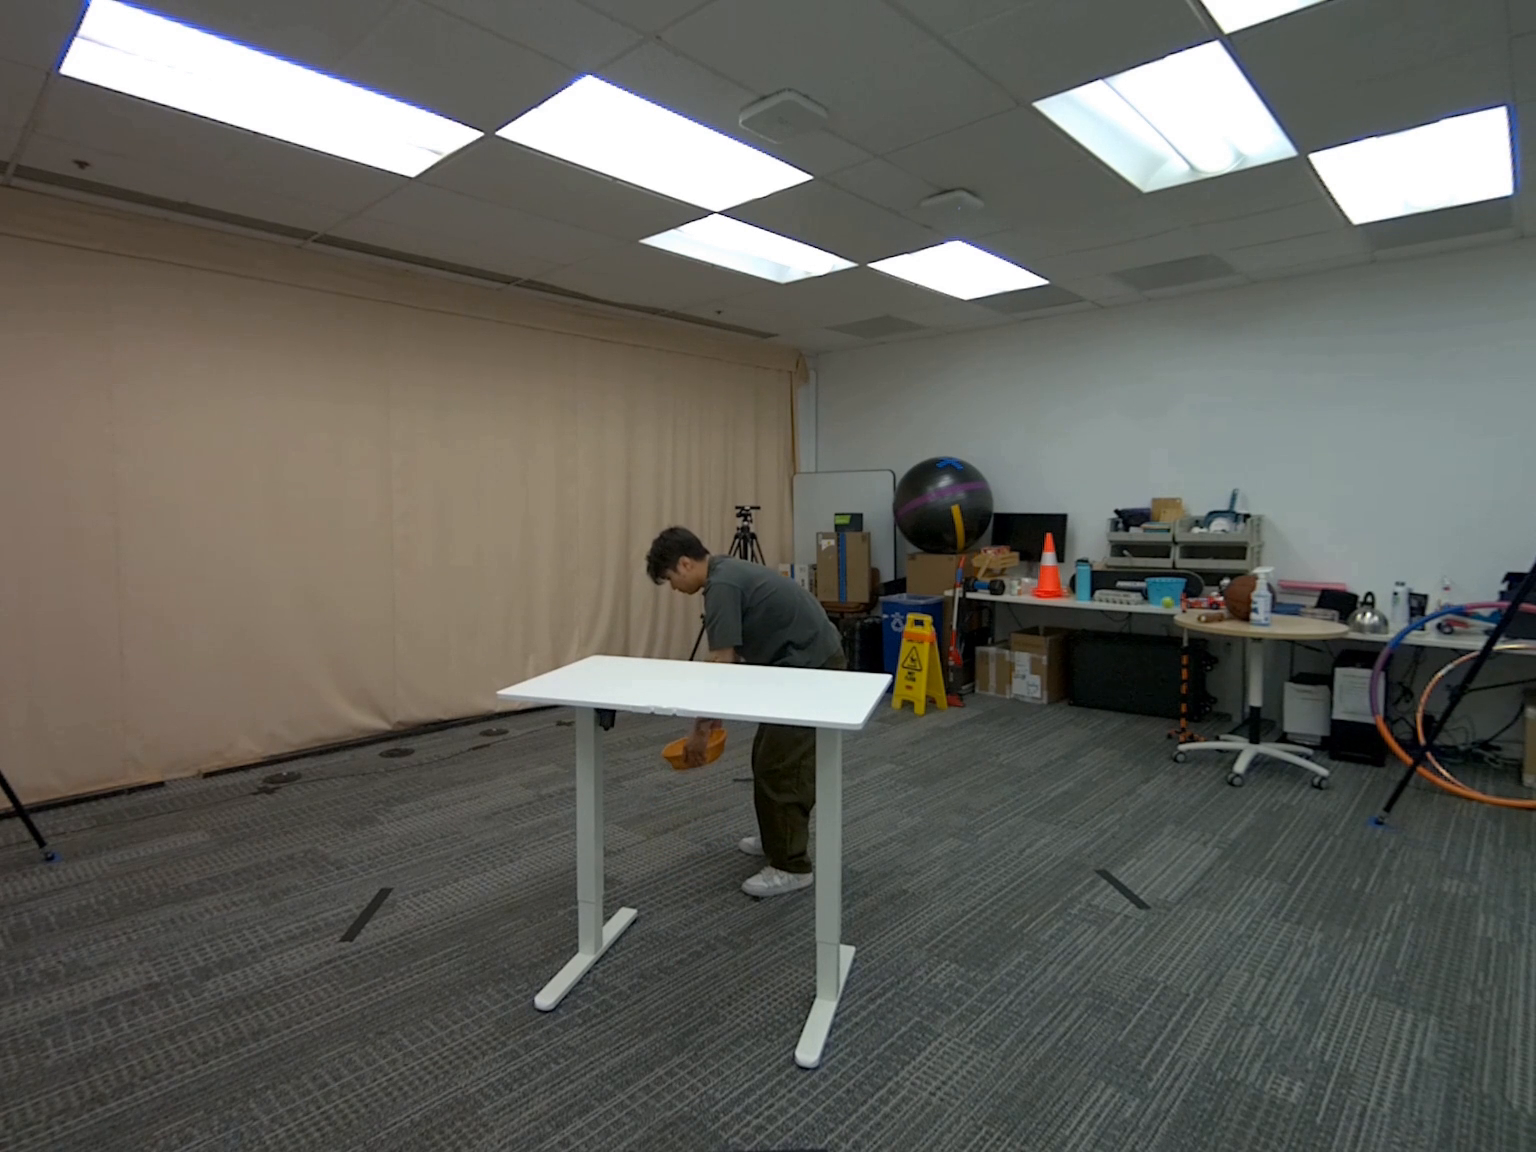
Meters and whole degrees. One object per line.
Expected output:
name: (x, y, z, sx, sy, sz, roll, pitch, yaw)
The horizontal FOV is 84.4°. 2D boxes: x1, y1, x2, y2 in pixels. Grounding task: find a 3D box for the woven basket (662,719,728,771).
woven basket: (-0.272, 0.674, 3.253, 0.256, 0.073, 0.345, -12, 1, 14)
